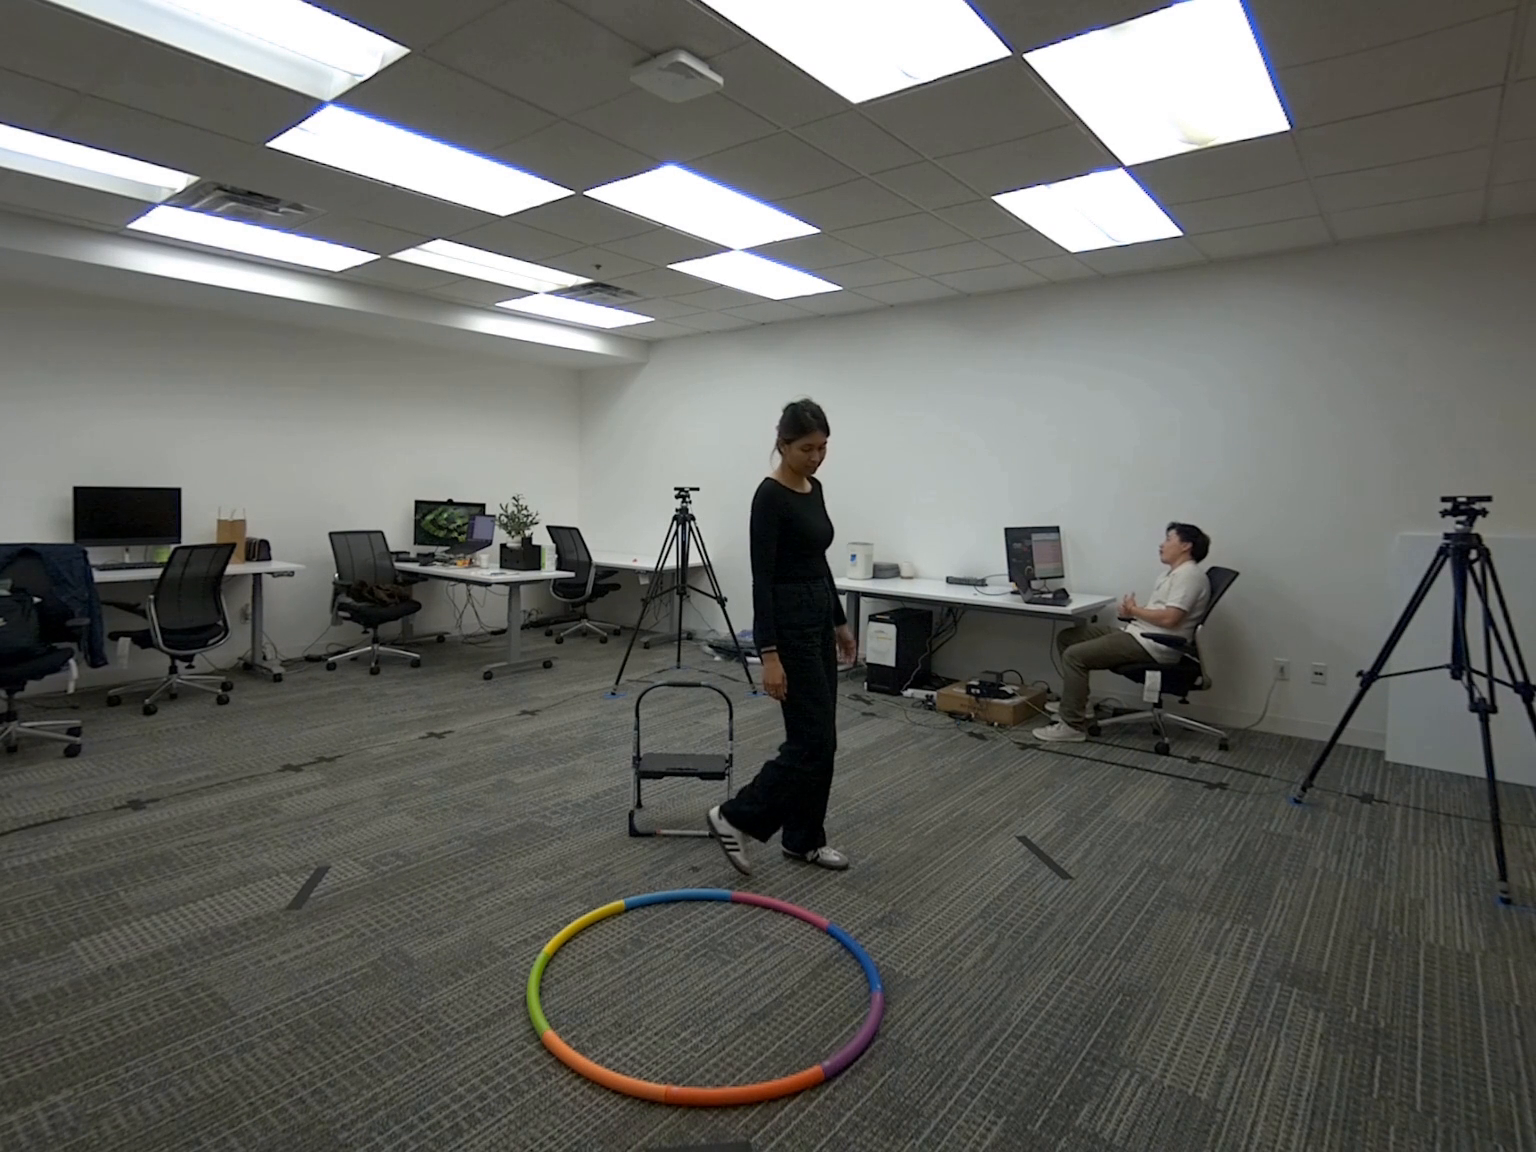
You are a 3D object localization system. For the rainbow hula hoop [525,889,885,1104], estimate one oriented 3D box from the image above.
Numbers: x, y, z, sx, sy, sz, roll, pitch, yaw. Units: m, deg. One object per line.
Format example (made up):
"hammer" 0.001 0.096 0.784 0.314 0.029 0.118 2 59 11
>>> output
"rainbow hula hoop" -0.179 1.104 2.397 0.978 0.035 0.984 1 6 -2
